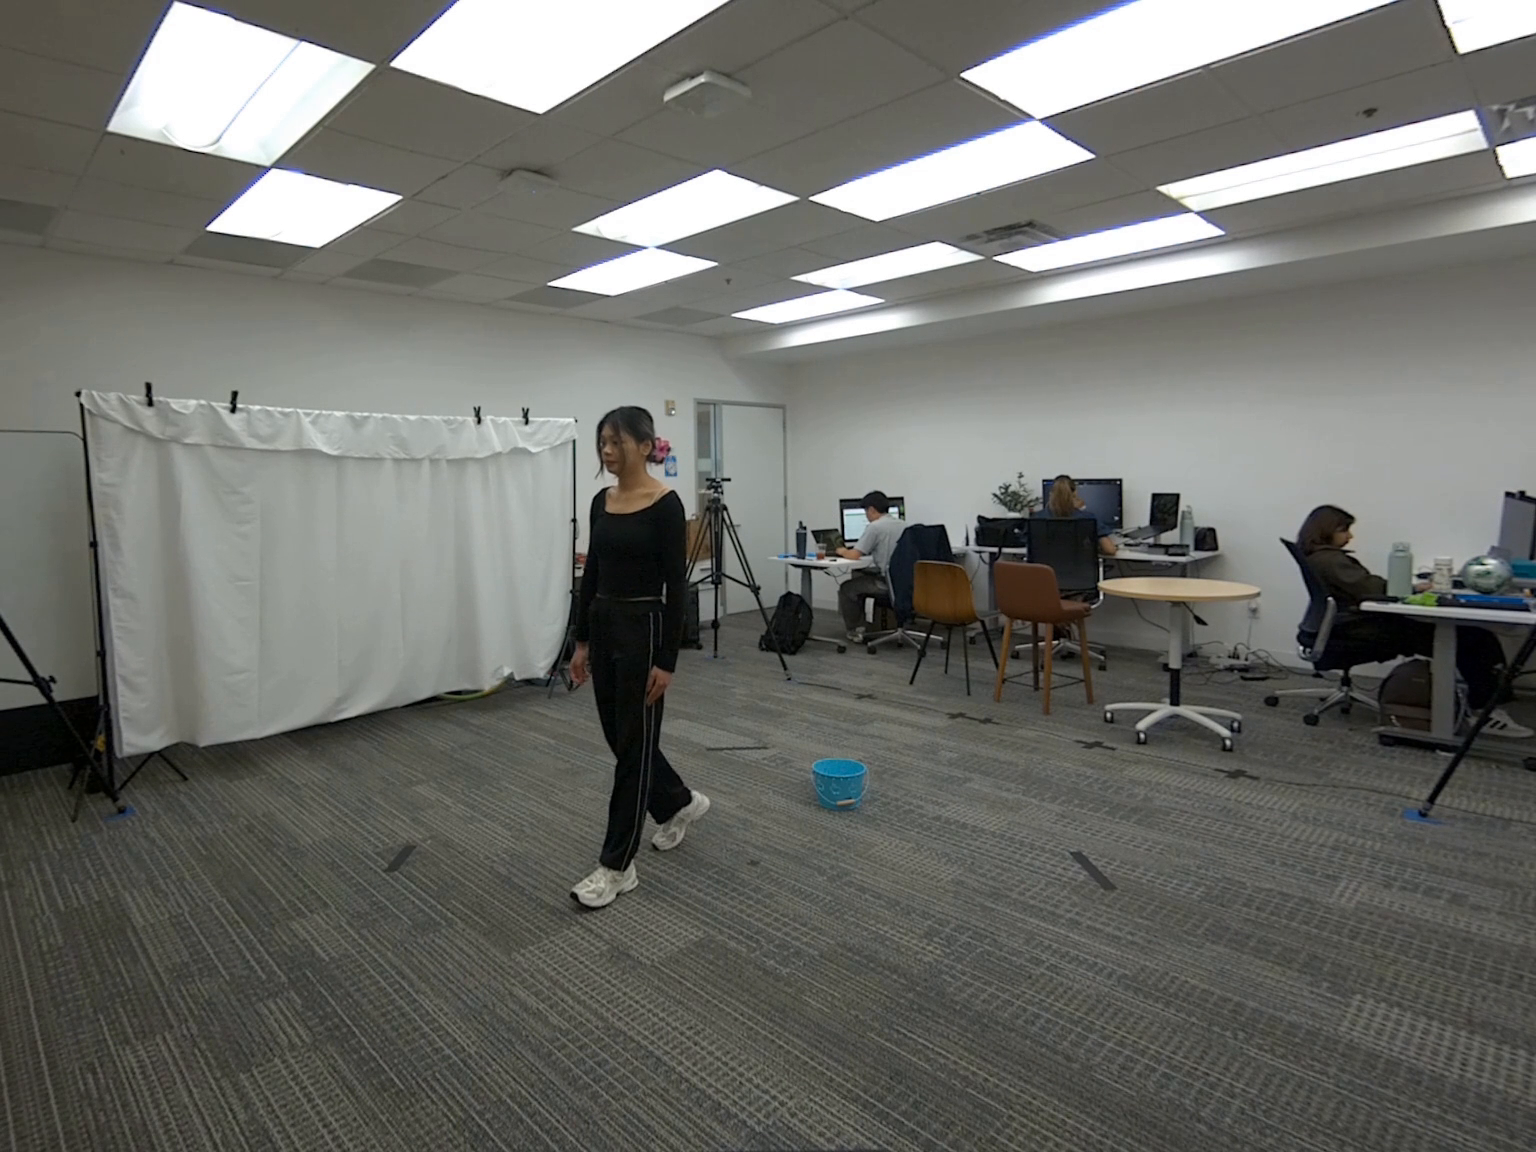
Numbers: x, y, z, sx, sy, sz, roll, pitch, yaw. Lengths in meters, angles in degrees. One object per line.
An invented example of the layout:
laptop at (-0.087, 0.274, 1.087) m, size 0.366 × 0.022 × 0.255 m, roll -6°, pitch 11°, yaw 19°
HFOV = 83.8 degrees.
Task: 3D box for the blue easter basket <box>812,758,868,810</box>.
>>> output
blue easter basket at (0.309, 0.891, 3.671) m, size 0.243 × 0.155 × 0.245 m, roll 0°, pitch 5°, yaw -2°
